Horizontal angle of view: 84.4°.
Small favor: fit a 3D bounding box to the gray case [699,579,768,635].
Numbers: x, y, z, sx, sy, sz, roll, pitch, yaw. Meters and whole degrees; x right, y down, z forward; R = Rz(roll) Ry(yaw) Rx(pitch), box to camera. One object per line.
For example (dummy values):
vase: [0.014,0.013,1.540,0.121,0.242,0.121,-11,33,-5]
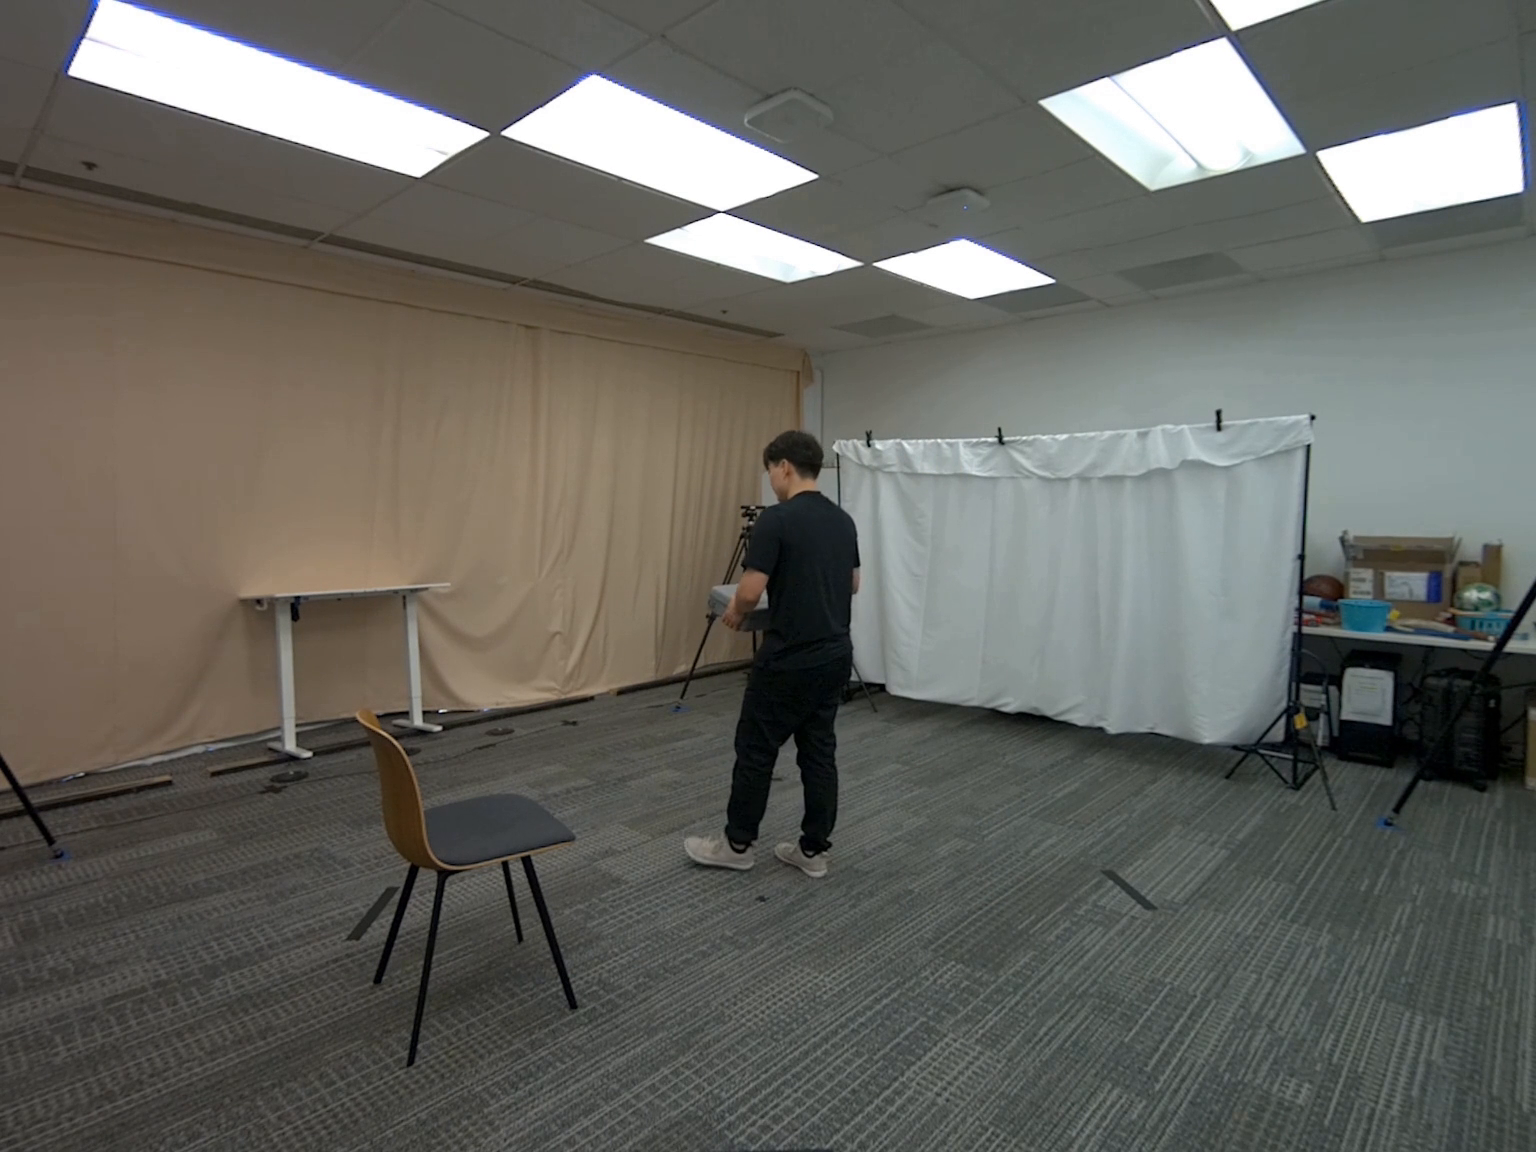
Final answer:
gray case: [-0.088,0.117,3.393,0.269,0.104,0.250,21,19,33]
